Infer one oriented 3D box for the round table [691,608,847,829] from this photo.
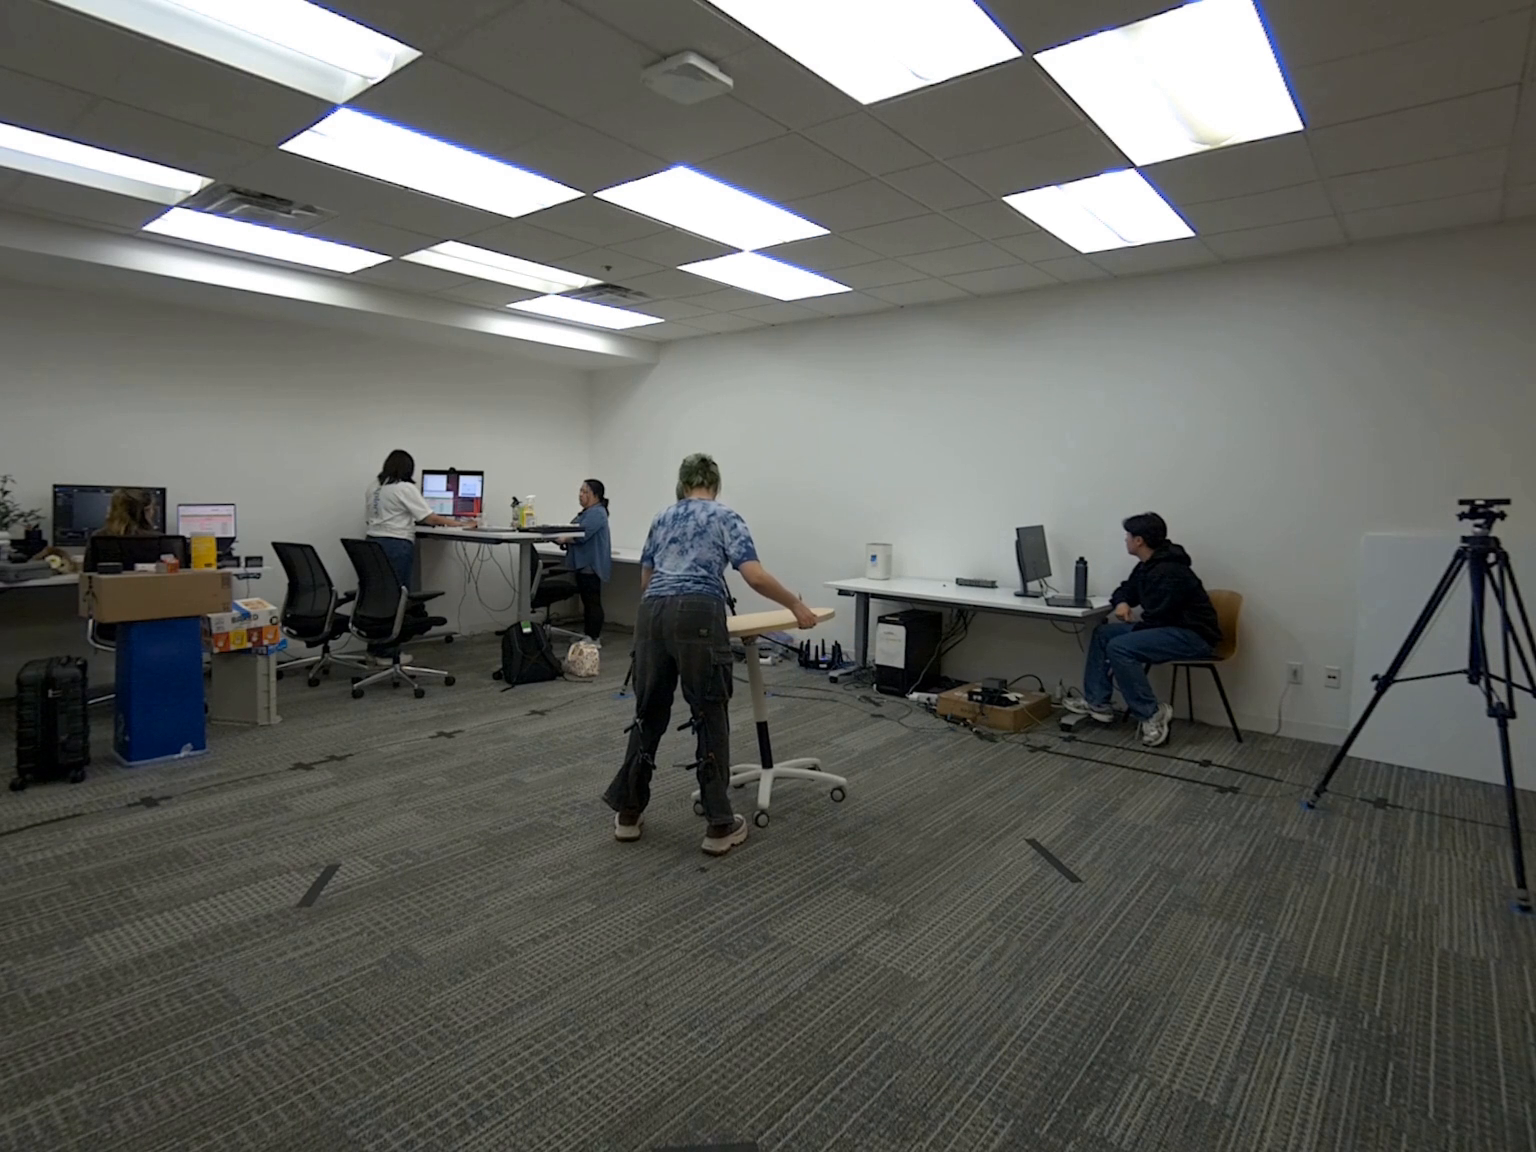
[{"bbox_3d":[-0.042,0.589,3.732,0.763,0.795,0.764,-7,0,-2],"label":"round table"}]
